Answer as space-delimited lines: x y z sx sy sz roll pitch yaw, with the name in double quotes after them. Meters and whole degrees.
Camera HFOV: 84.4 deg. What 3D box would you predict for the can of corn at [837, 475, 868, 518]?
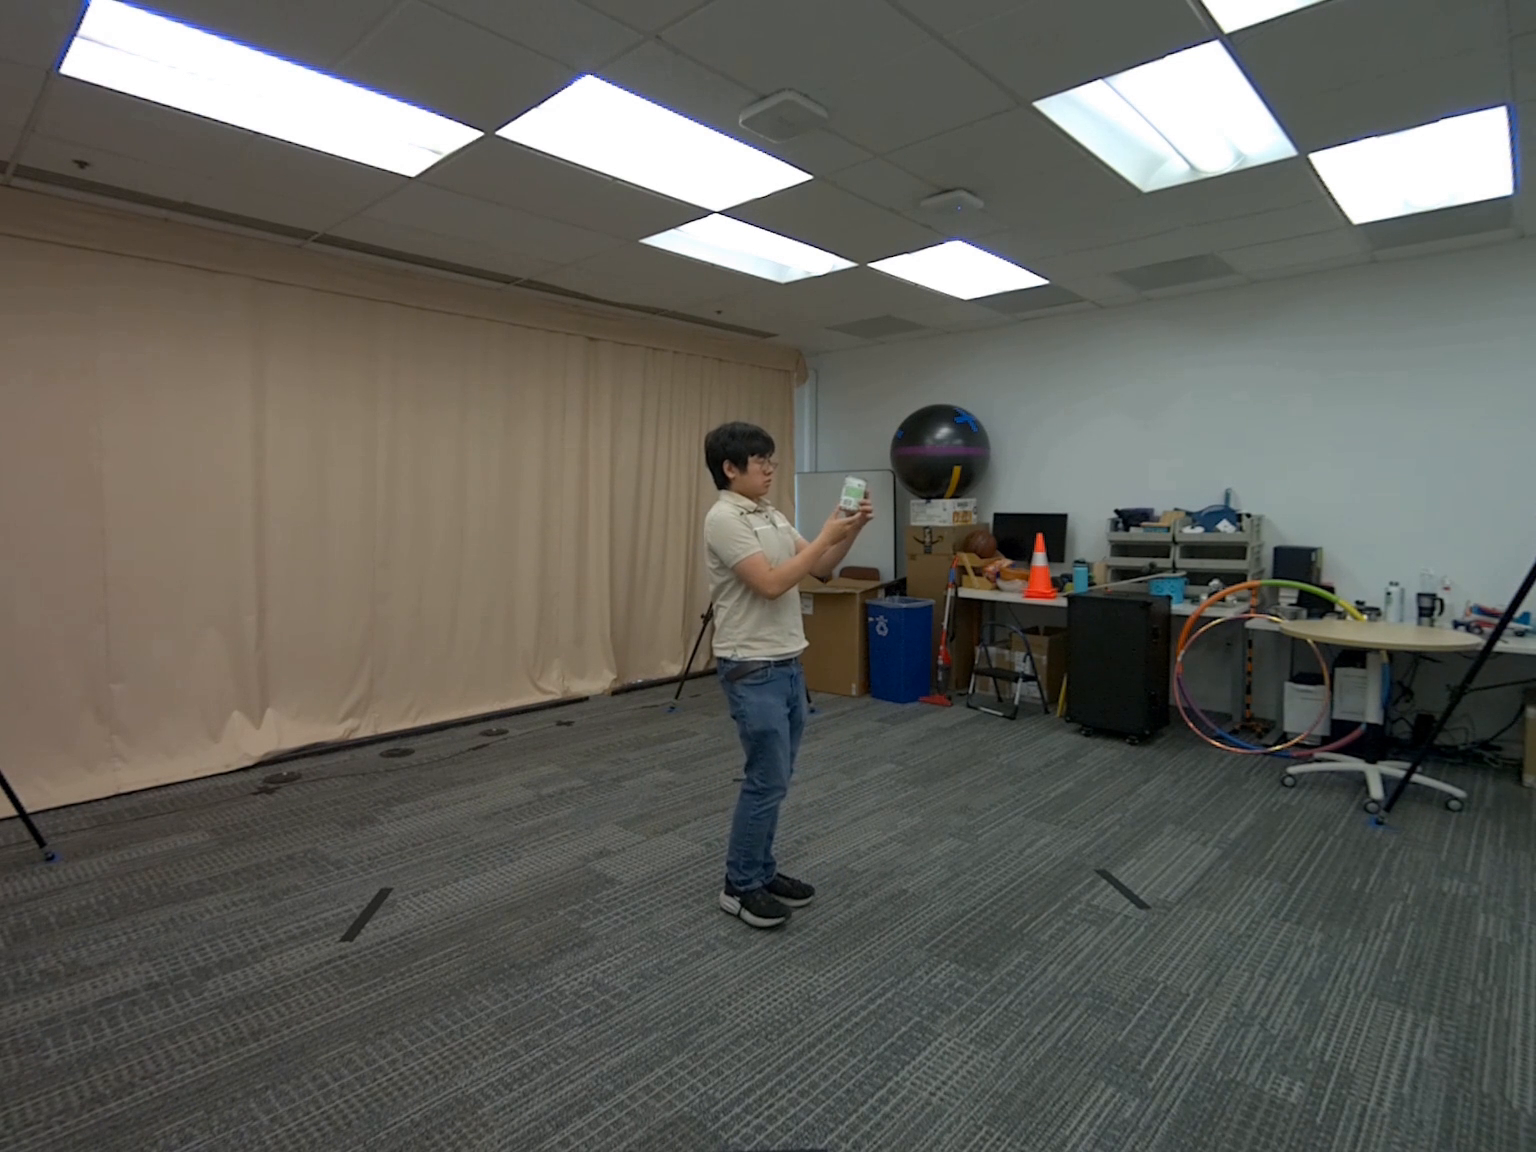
0.284 -0.270 2.803 0.074 0.111 0.074 14 0 -2 "can of corn"
